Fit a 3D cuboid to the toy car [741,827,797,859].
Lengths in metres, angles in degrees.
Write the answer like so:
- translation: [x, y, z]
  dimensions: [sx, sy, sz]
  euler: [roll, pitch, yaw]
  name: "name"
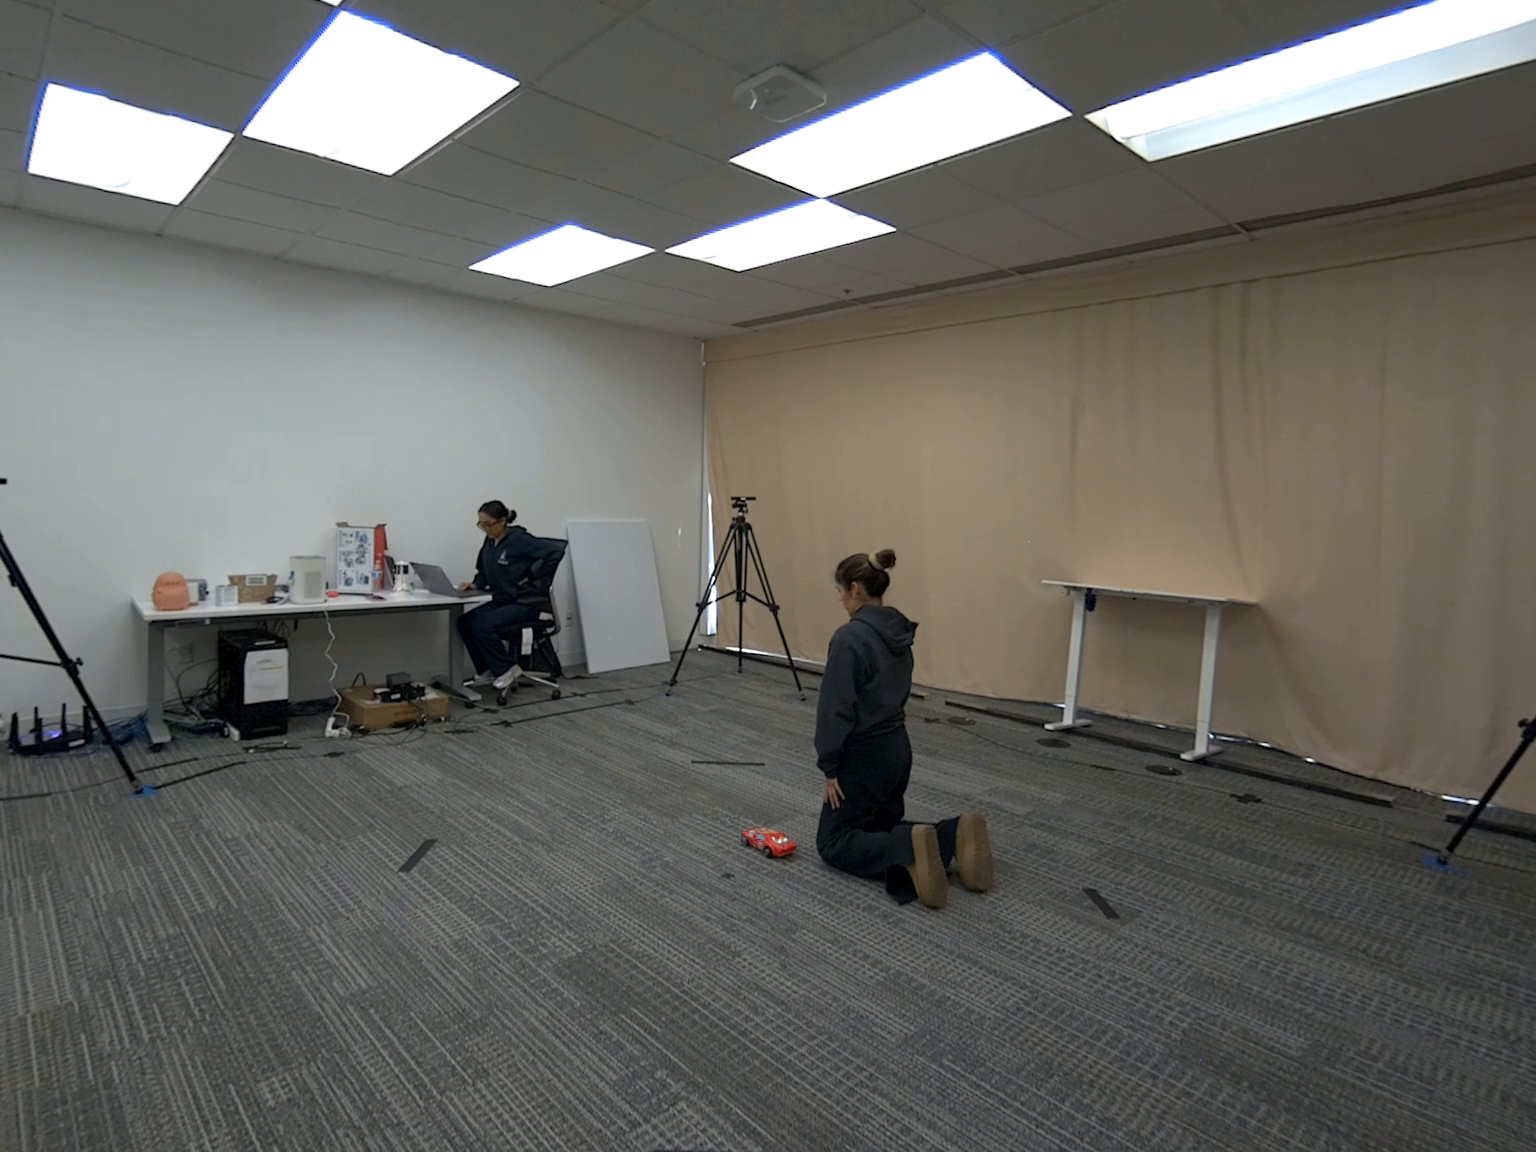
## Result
- translation: [0.002, 1.054, 3.361]
  dimensions: [0.127, 0.083, 0.259]
  euler: [-2, -5, -40]
  name: "toy car"
